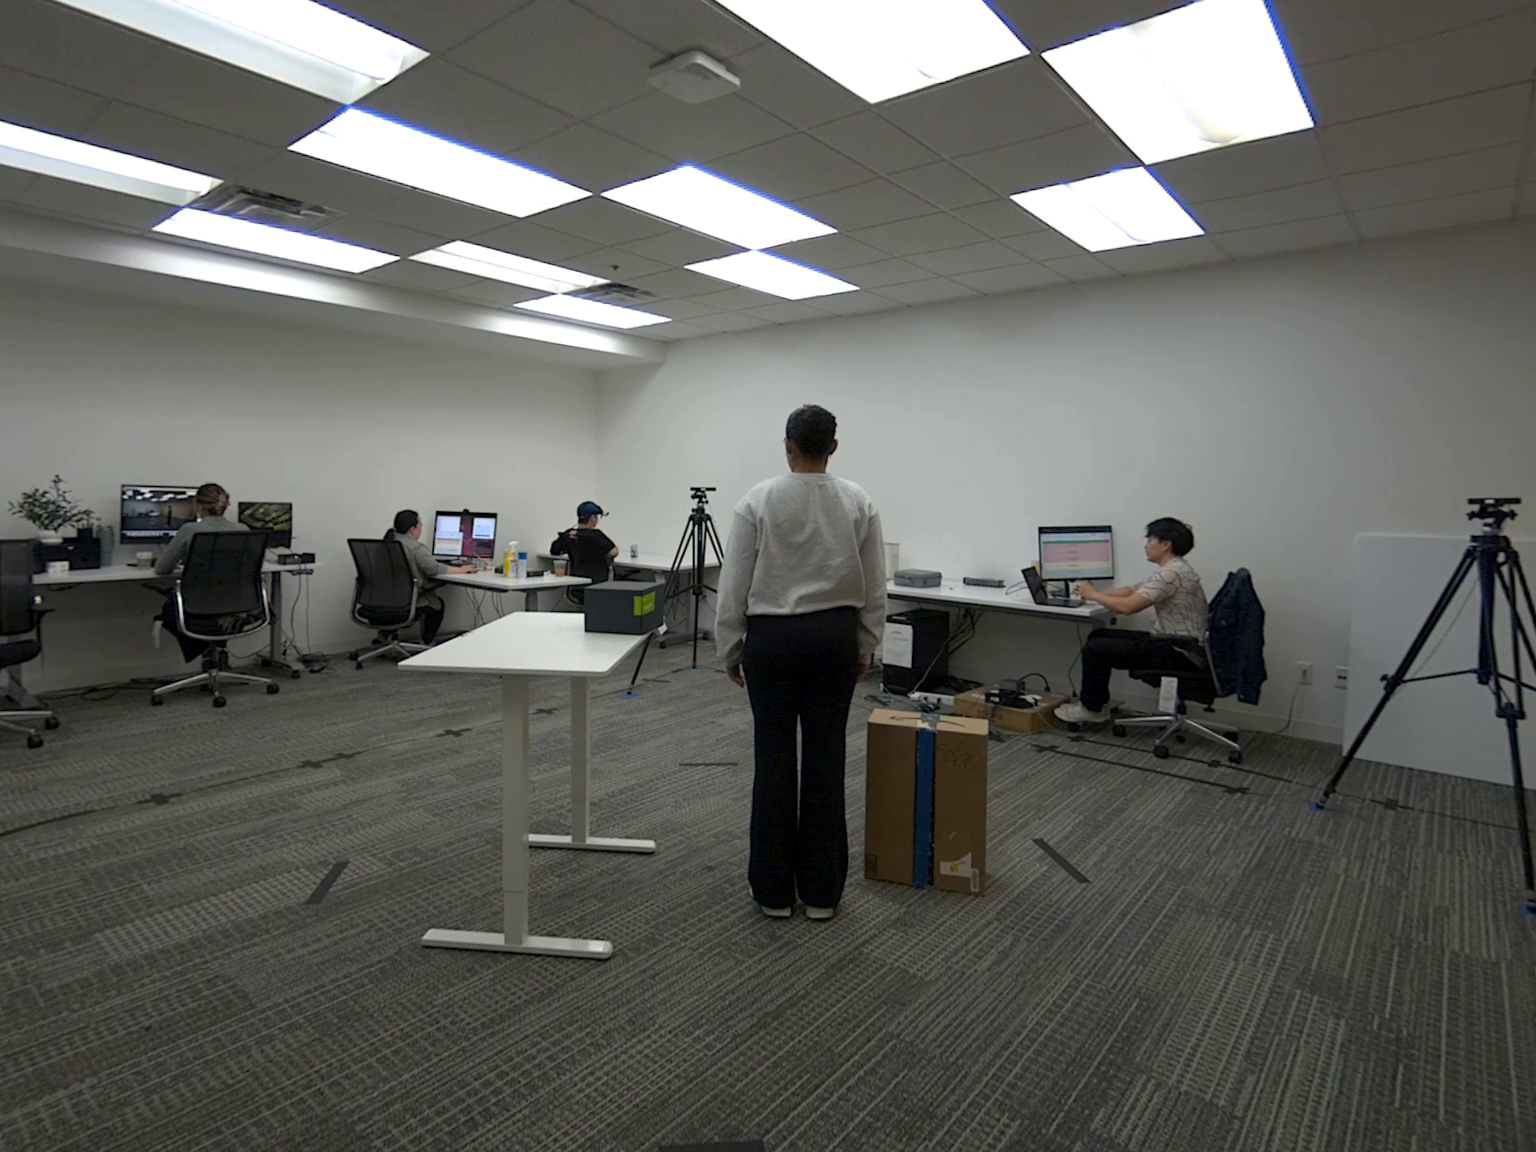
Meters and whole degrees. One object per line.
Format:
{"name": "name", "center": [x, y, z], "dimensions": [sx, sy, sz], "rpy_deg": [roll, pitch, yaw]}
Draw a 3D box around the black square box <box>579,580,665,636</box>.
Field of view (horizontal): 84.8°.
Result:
{"name": "black square box", "center": [-0.520, 0.106, 3.013], "dimensions": [0.220, 0.155, 0.225], "rpy_deg": [2, 5, 13]}
